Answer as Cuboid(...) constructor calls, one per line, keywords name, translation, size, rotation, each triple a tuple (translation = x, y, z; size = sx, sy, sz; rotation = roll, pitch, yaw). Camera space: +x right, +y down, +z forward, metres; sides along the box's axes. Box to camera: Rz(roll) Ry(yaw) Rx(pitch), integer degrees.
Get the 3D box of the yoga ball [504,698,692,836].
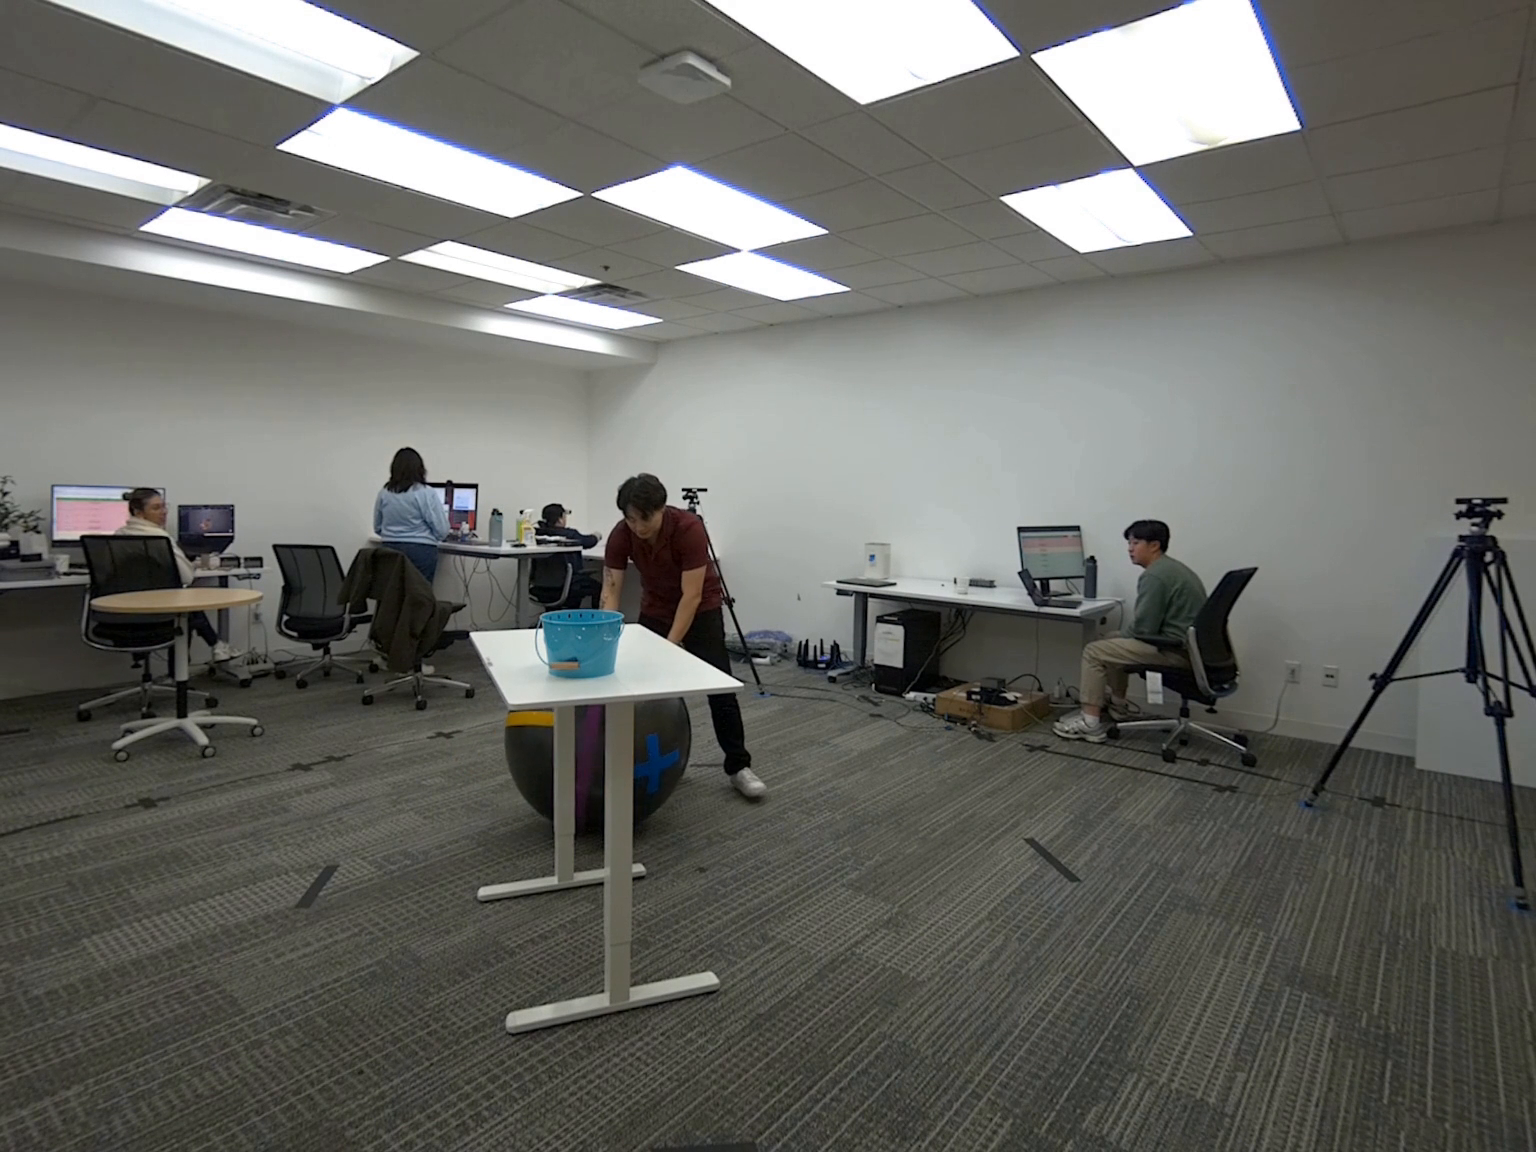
Cuboid(name="yoga ball", translation=(-0.707, 0.664, 3.521), size=(0.757, 0.756, 0.762), rotation=(1, 4, -2))
